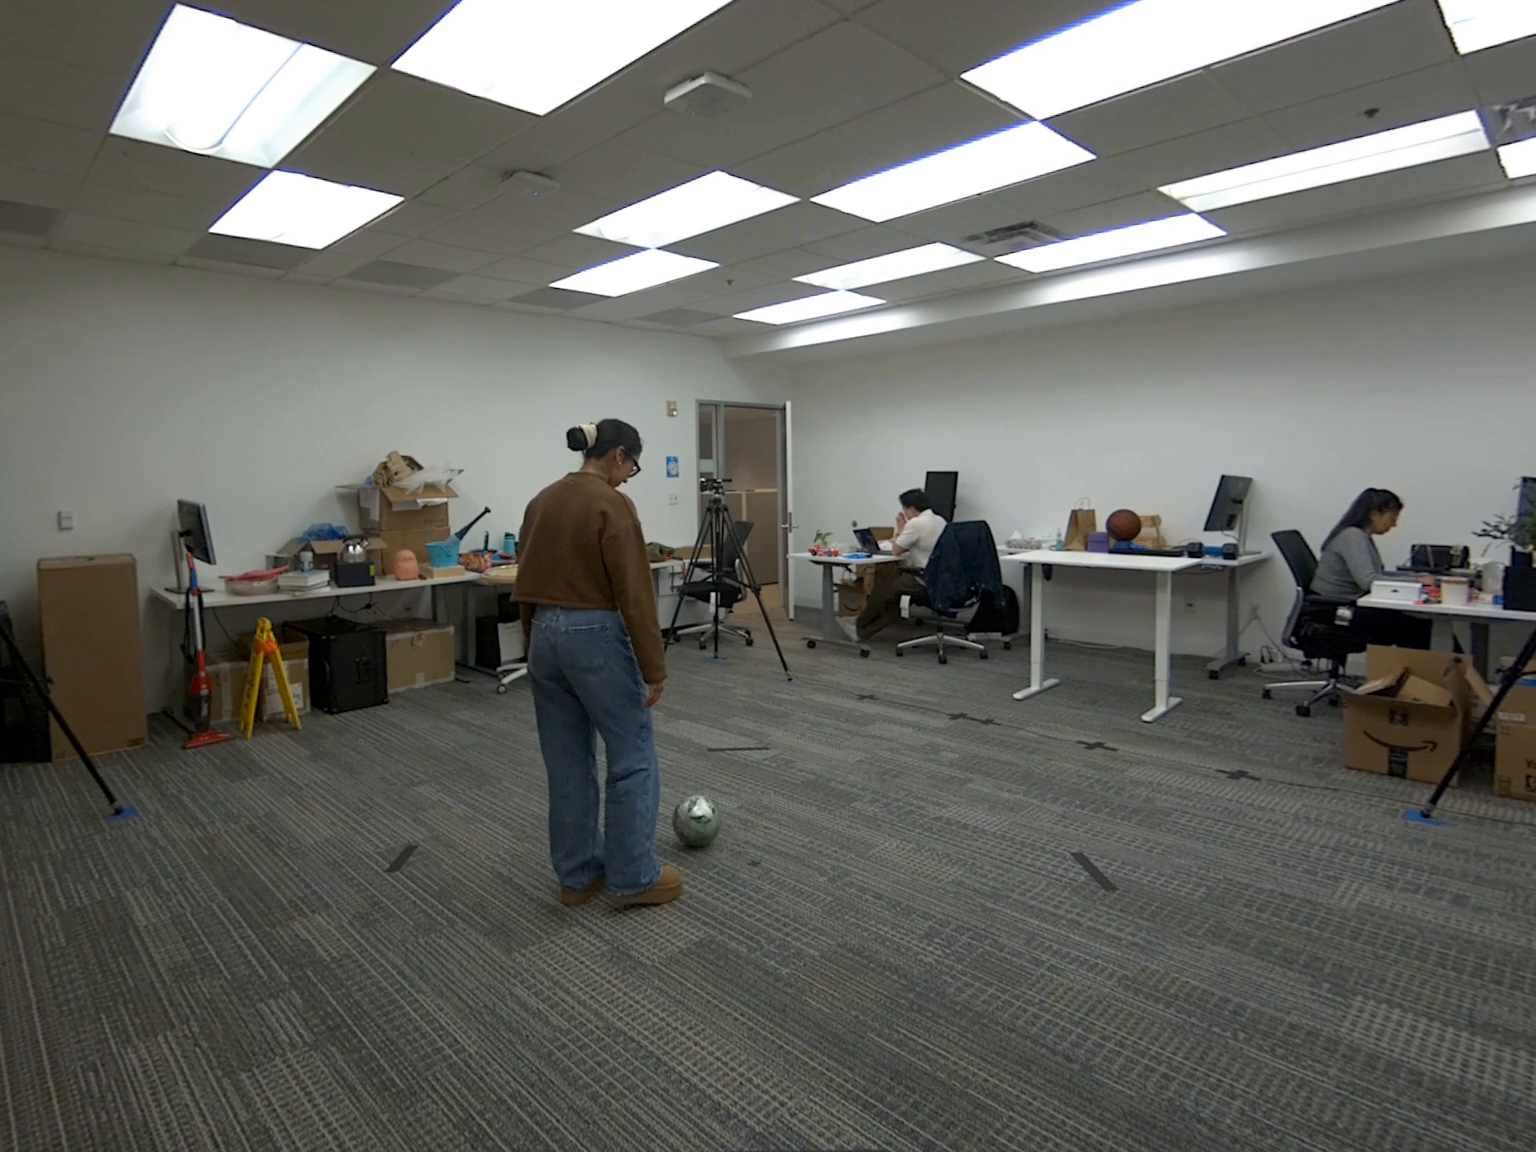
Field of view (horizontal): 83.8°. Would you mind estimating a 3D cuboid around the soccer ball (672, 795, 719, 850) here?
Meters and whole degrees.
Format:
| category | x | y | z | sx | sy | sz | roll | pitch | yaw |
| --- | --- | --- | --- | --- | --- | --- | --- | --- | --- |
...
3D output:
| category | x | y | z | sx | sy | sz | roll | pitch | yaw |
| --- | --- | --- | --- | --- | --- | --- | --- | --- | --- |
| soccer ball | -0.269 | 0.934 | 3.260 | 0.187 | 0.187 | 0.188 | -1 | 5 | -2 |
